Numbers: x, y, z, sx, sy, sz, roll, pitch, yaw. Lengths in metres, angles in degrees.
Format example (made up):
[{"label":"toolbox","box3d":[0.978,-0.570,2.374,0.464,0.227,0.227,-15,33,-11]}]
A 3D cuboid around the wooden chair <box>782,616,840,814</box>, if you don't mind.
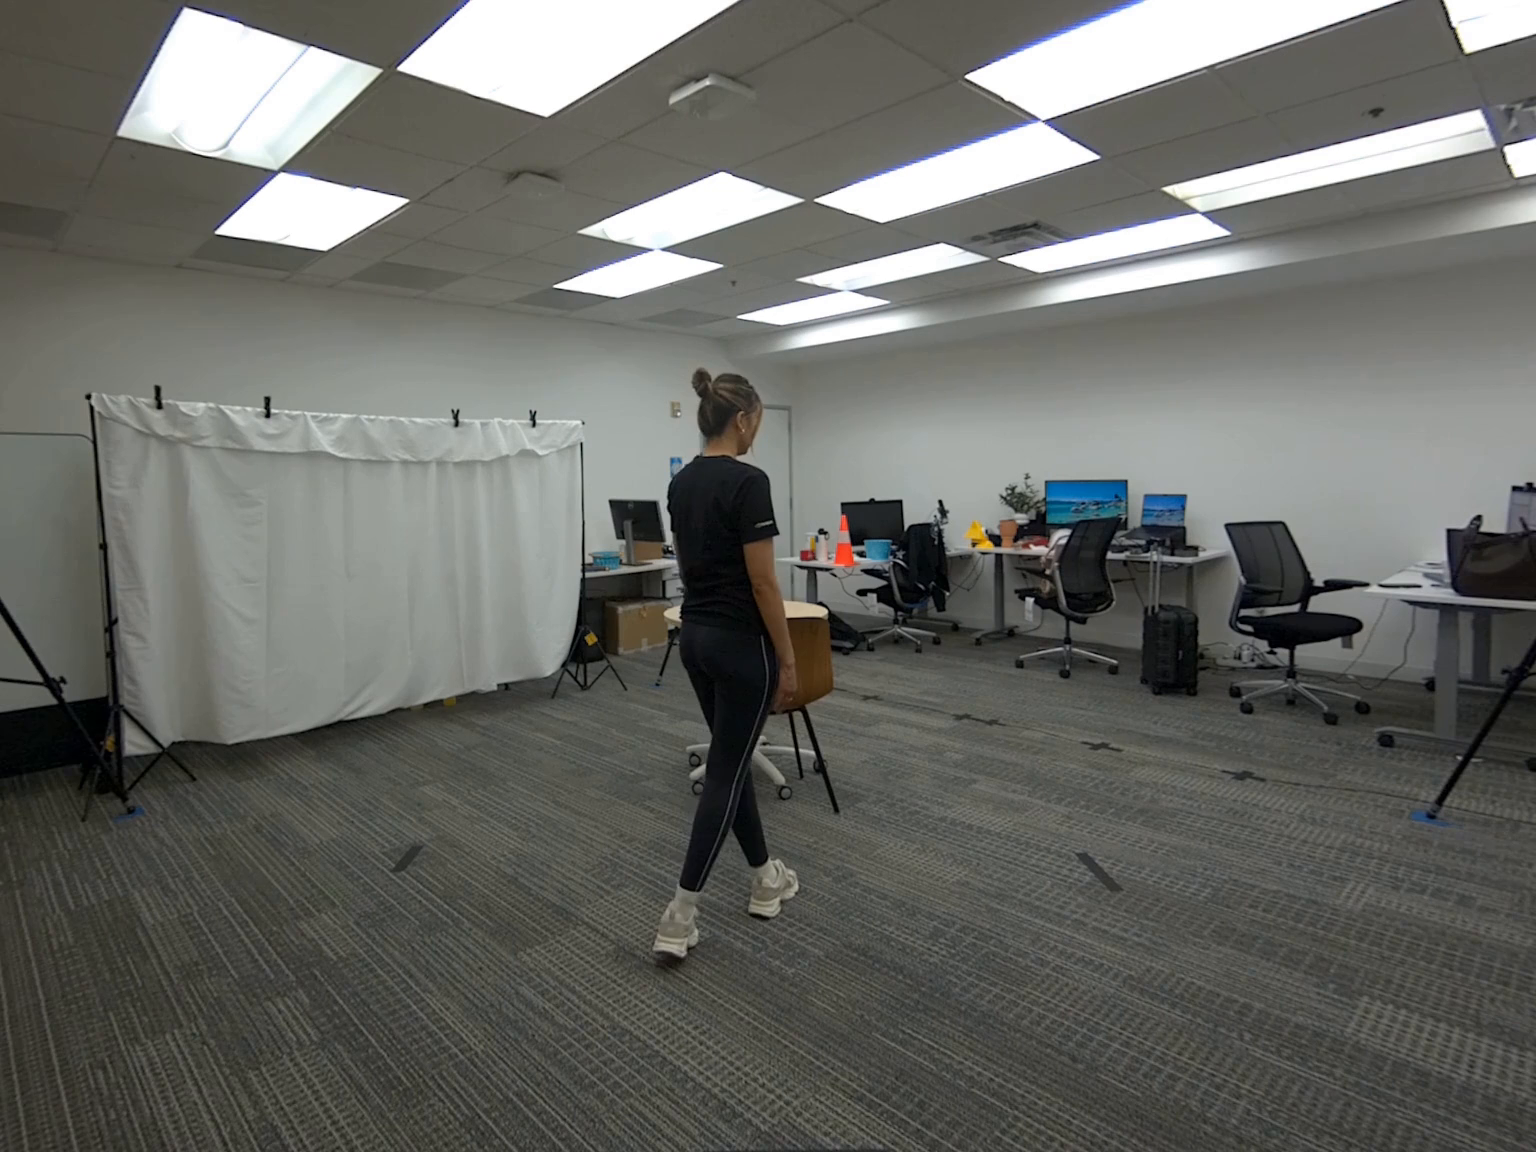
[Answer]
[{"label":"wooden chair","box3d":[0.006,0.551,3.709,0.471,0.871,0.535,-2,8,-17]}]
